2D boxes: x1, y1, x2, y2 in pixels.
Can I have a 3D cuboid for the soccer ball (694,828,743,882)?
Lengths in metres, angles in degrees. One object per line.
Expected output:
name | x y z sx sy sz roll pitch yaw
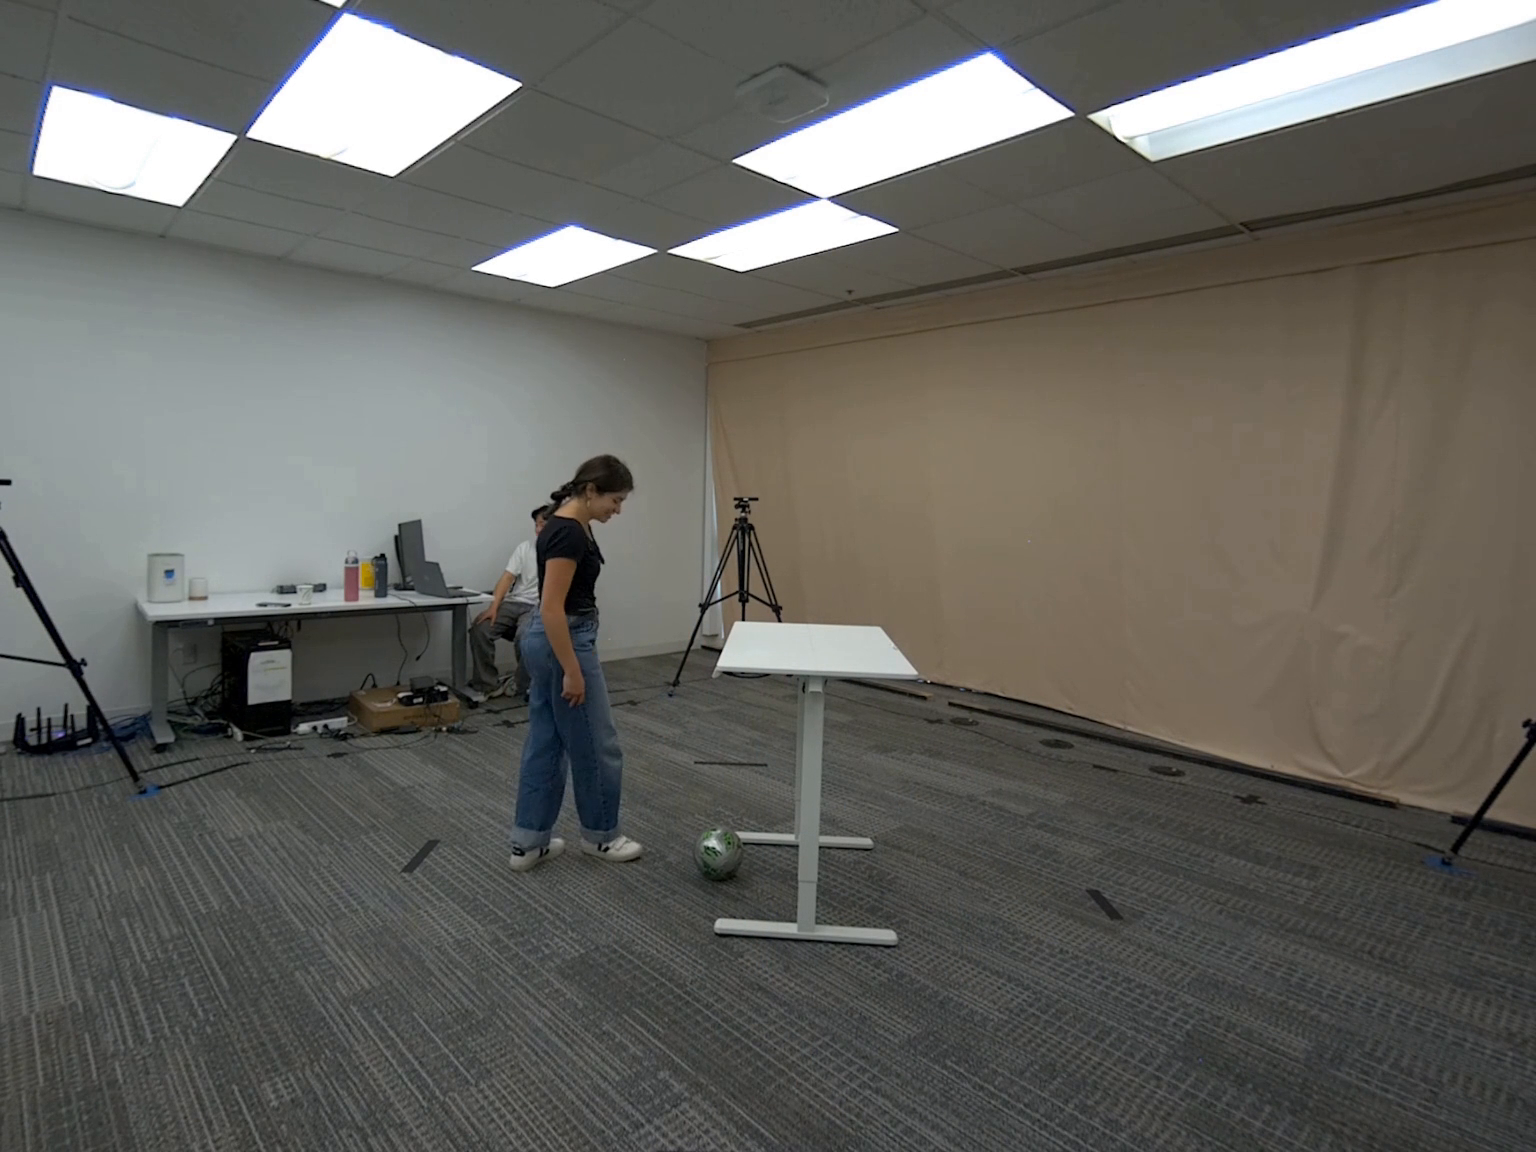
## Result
soccer ball | -0.187 1.024 3.080 0.187 0.187 0.188 1 4 -1
